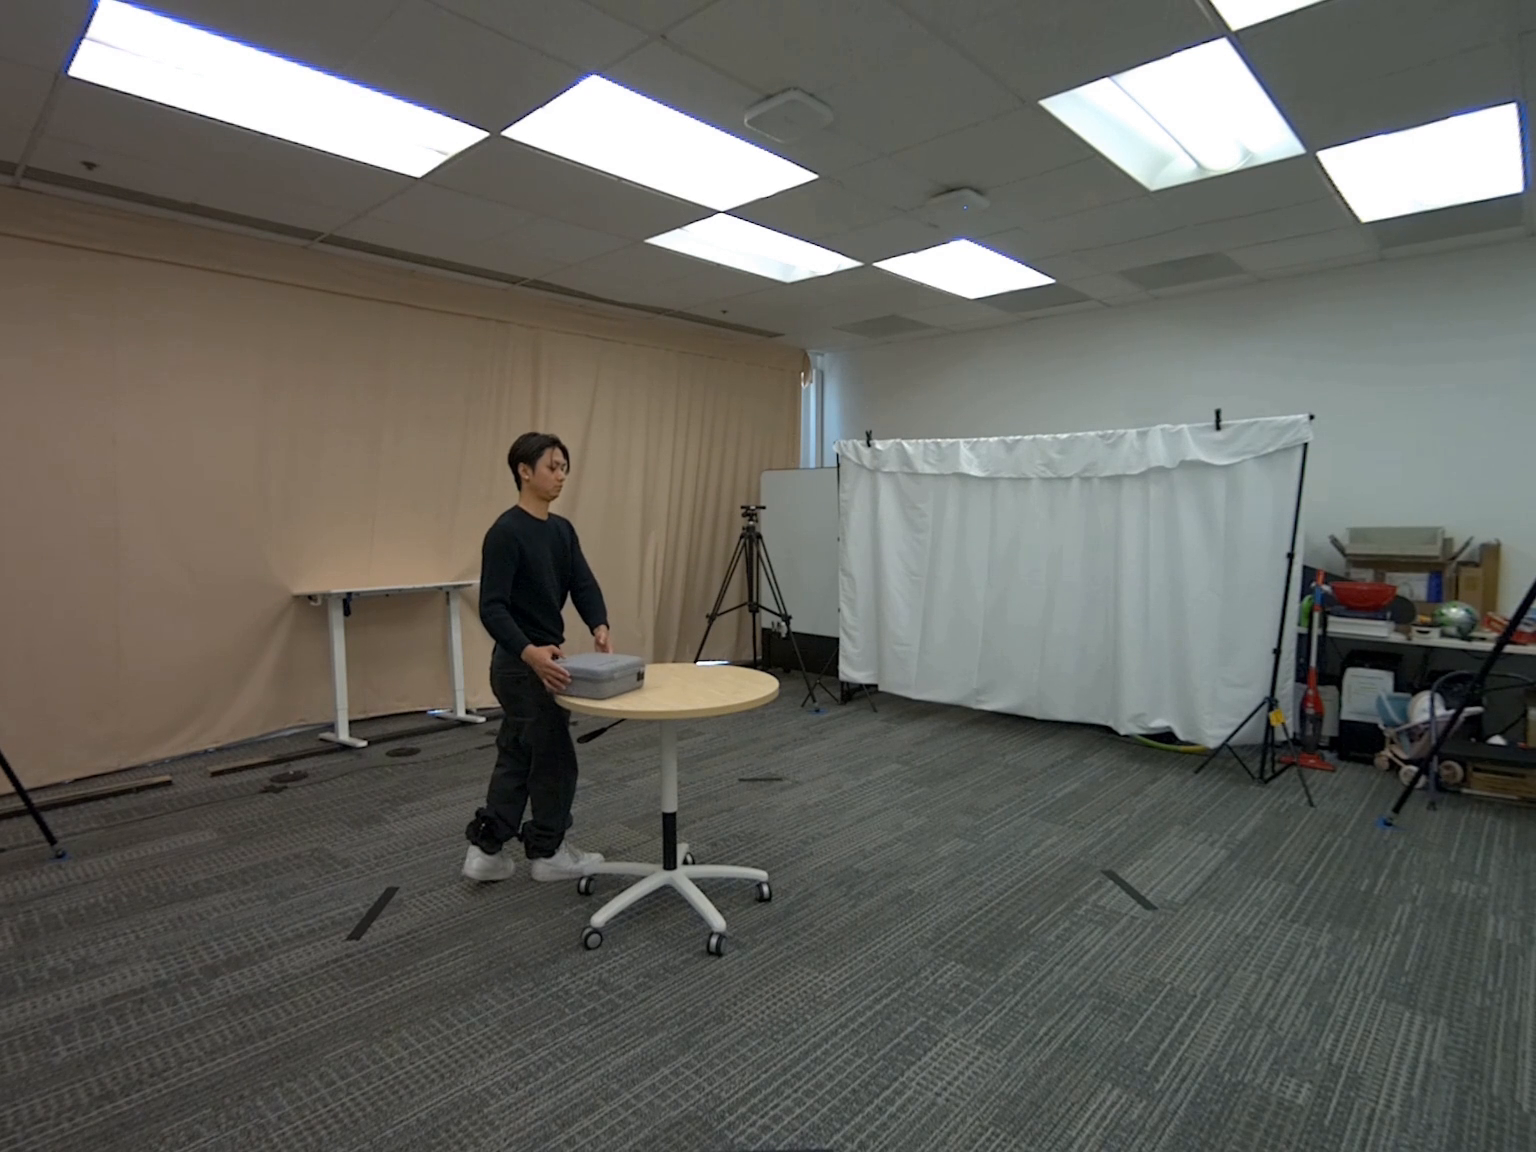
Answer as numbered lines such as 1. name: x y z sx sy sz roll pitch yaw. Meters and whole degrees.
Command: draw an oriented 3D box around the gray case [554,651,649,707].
1. gray case: -0.574 0.332 2.786 0.267 0.104 0.251 2 6 26
